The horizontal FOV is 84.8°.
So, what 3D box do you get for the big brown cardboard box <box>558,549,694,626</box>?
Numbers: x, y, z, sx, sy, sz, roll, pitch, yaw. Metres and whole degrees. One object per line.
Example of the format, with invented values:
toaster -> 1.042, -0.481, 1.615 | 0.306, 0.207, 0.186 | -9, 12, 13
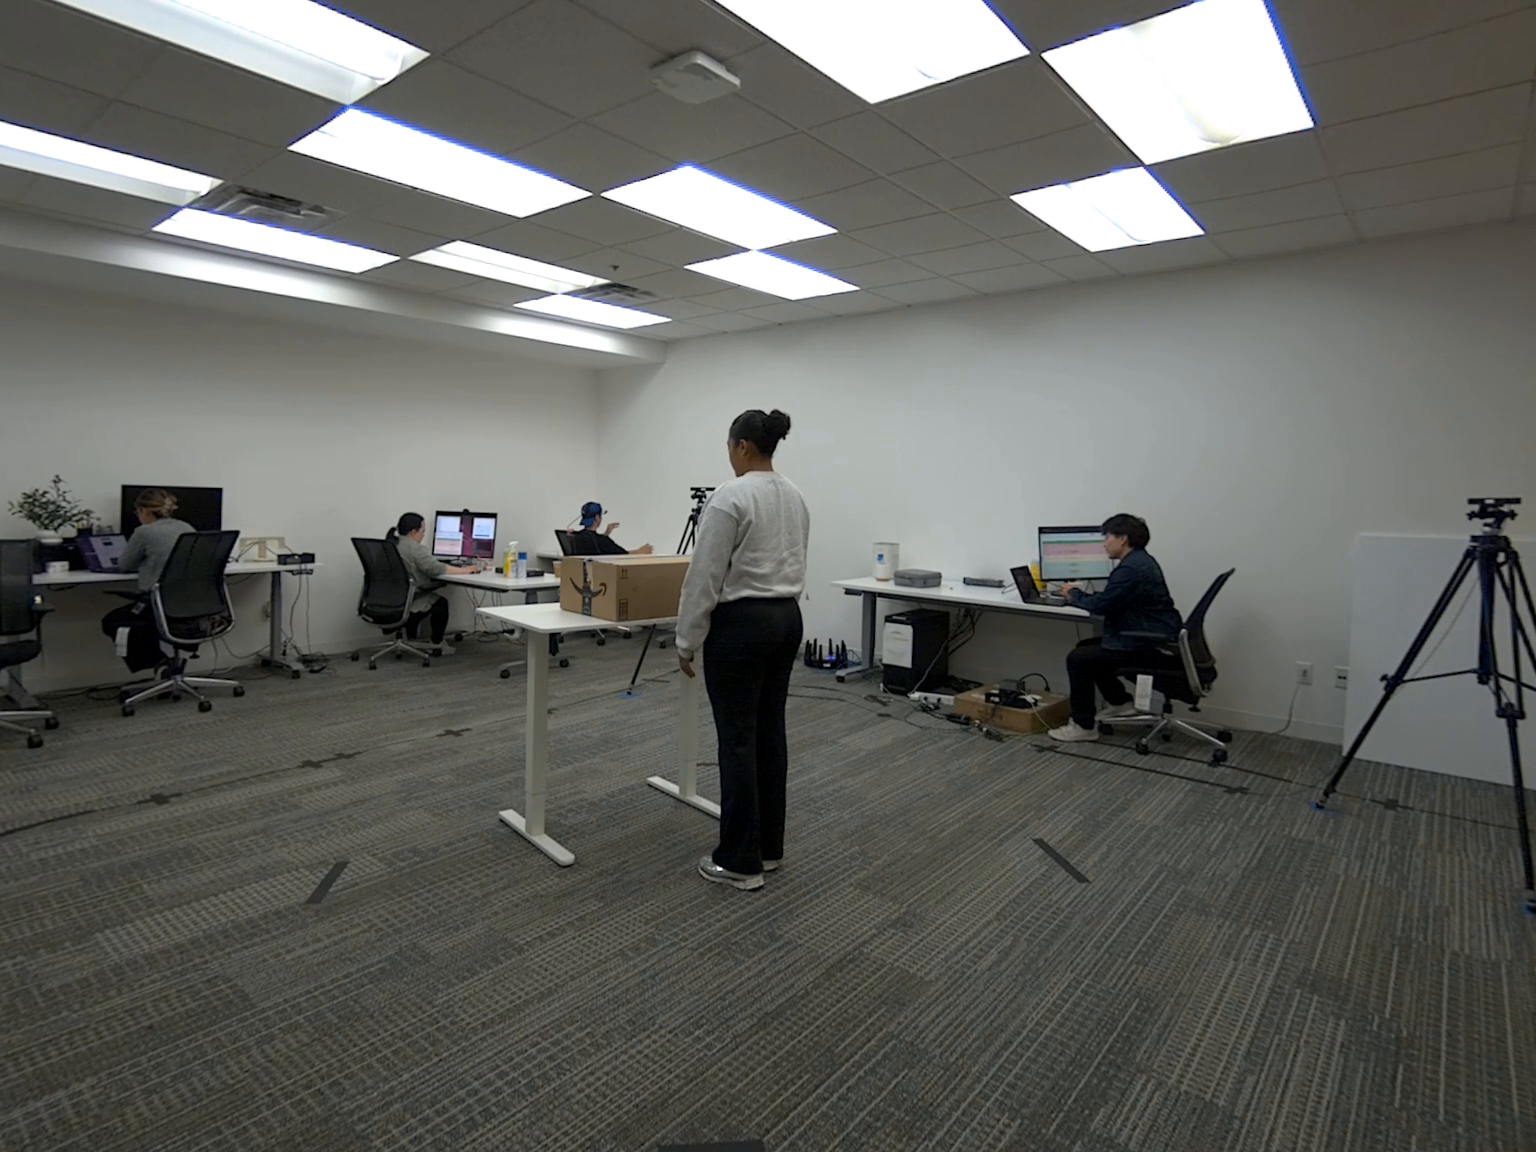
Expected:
big brown cardboard box -> -0.509, 0.030, 3.499 | 0.571, 0.232, 0.432 | -4, 7, -43
